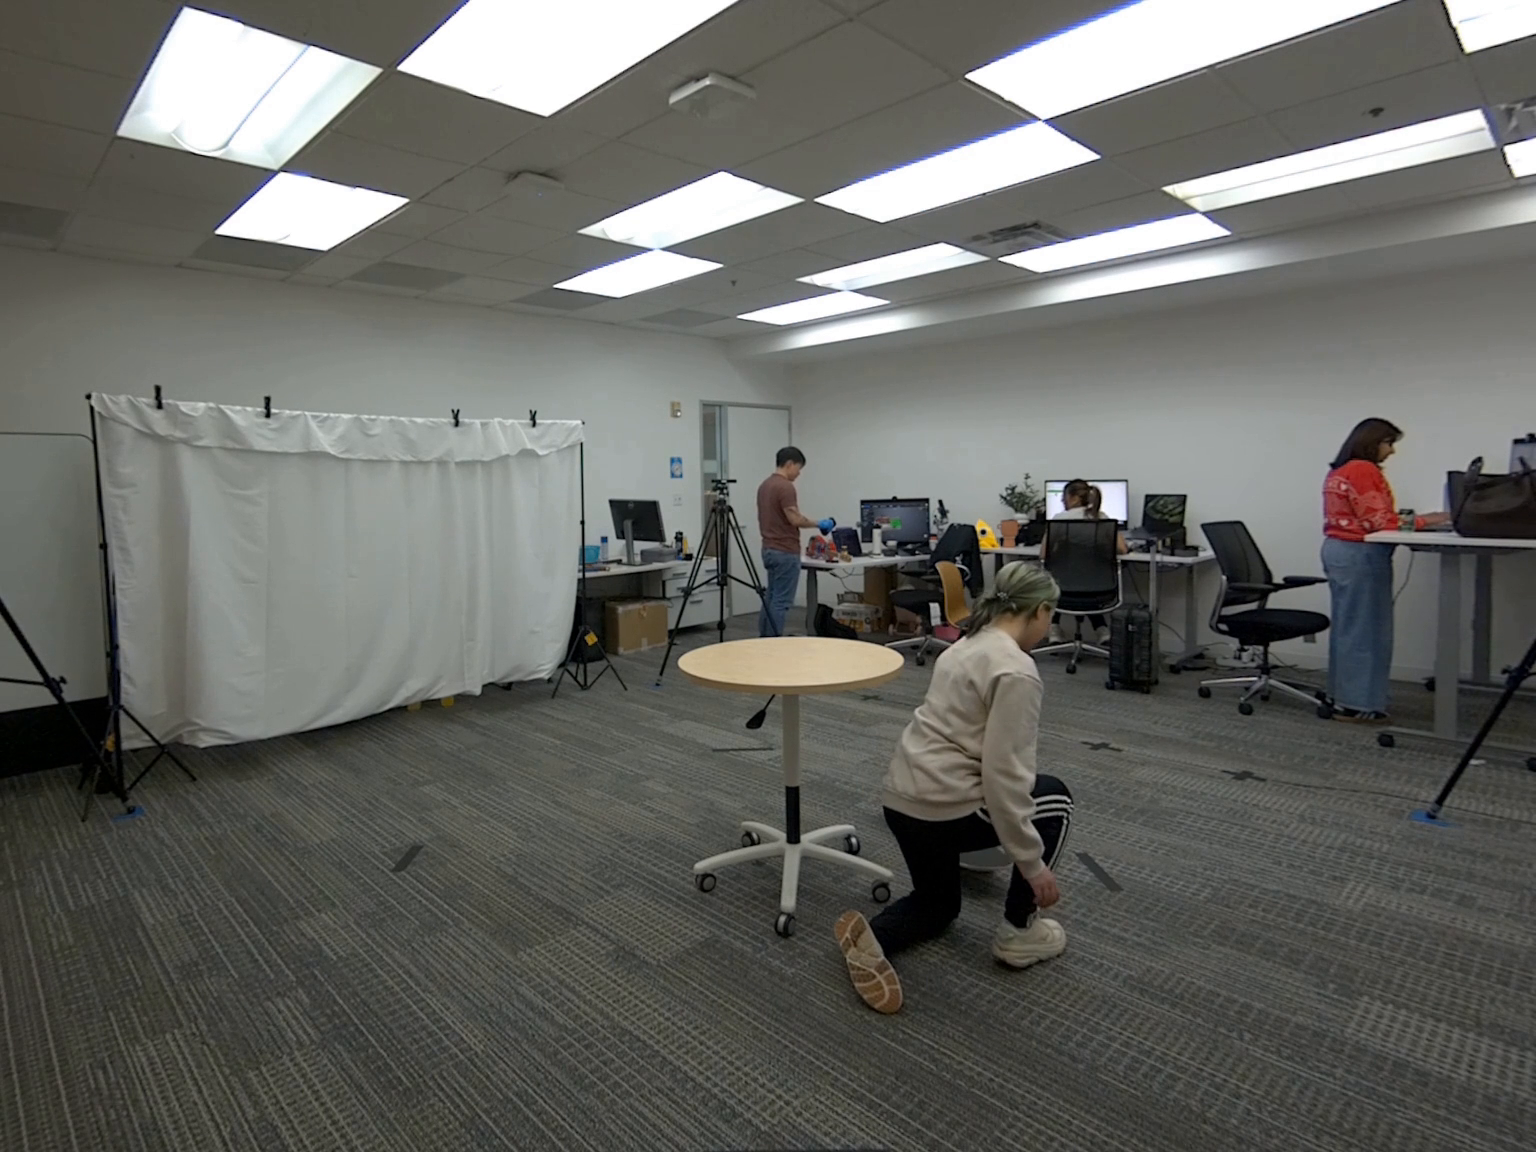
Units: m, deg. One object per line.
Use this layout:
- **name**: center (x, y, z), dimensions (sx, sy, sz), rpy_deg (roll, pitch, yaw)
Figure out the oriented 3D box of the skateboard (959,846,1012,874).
- **skateboard**: center (0.650, 0.955, 3.188), dimensions (0.191, 0.110, 0.799), rpy_deg (-2, 6, -15)
